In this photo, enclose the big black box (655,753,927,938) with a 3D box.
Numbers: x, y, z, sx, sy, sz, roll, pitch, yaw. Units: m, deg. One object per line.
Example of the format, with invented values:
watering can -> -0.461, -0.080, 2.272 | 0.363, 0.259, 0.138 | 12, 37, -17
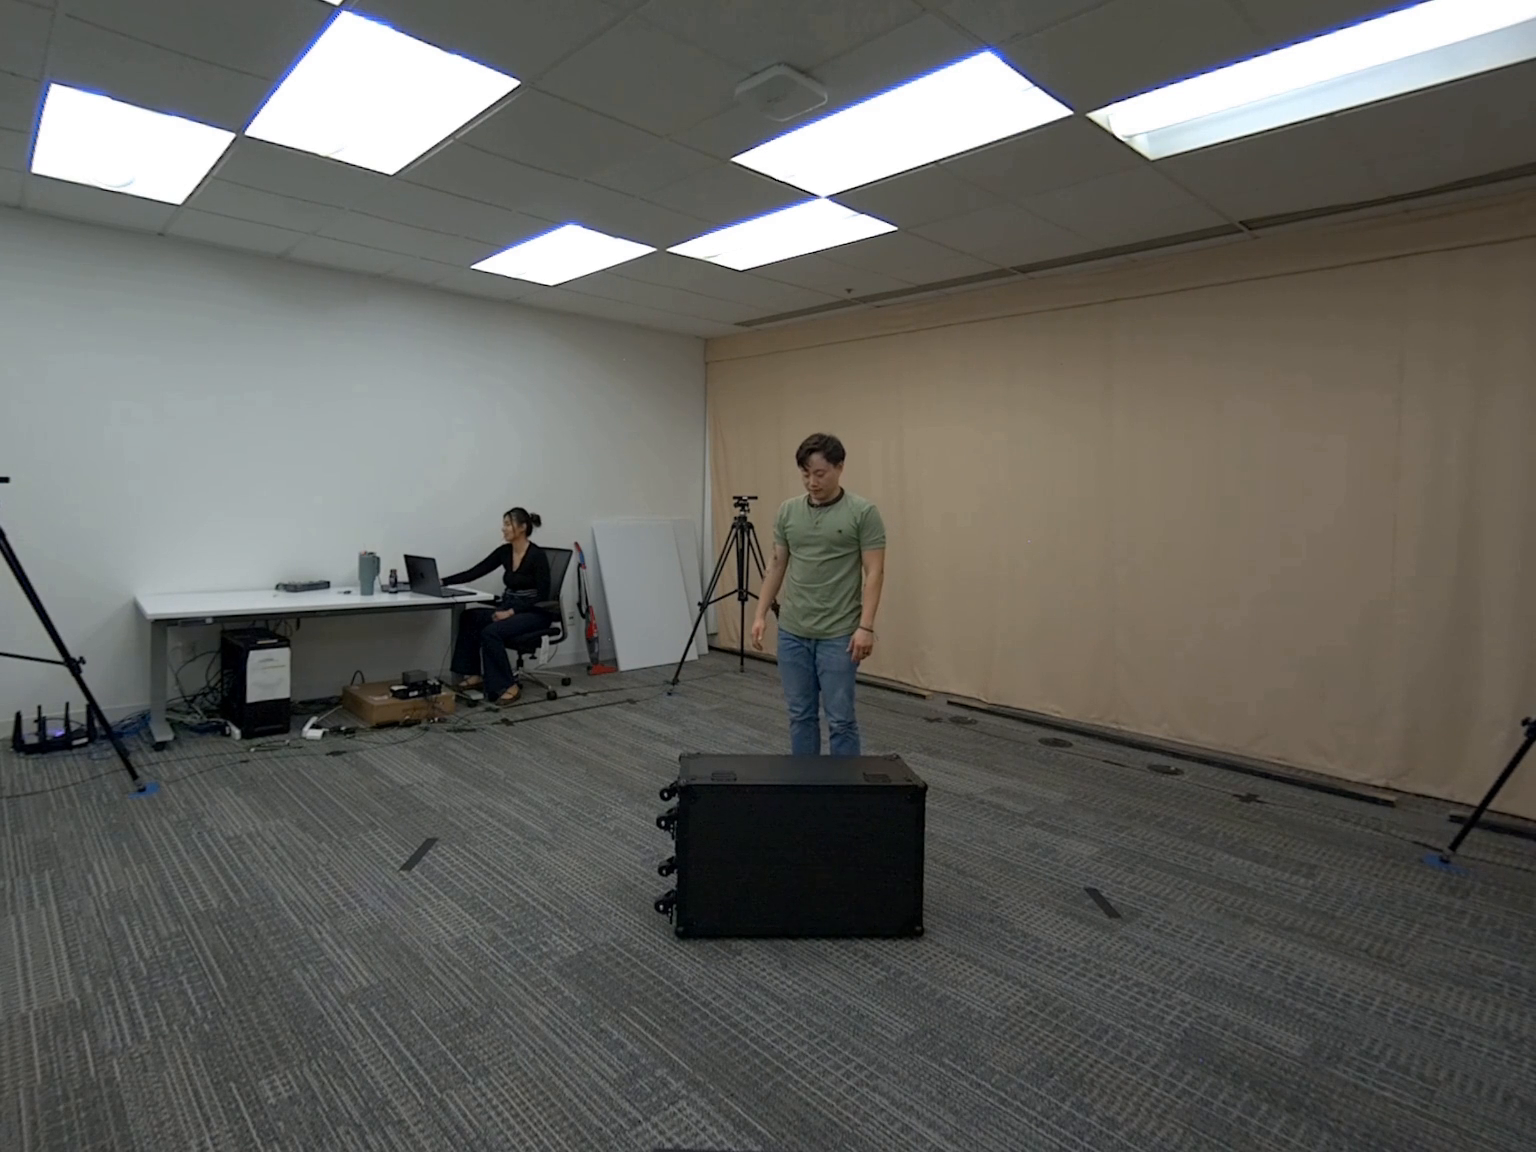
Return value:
big black box -> 0.052, 0.877, 2.826 | 0.859, 0.521, 0.398 | 1, 1, -4
